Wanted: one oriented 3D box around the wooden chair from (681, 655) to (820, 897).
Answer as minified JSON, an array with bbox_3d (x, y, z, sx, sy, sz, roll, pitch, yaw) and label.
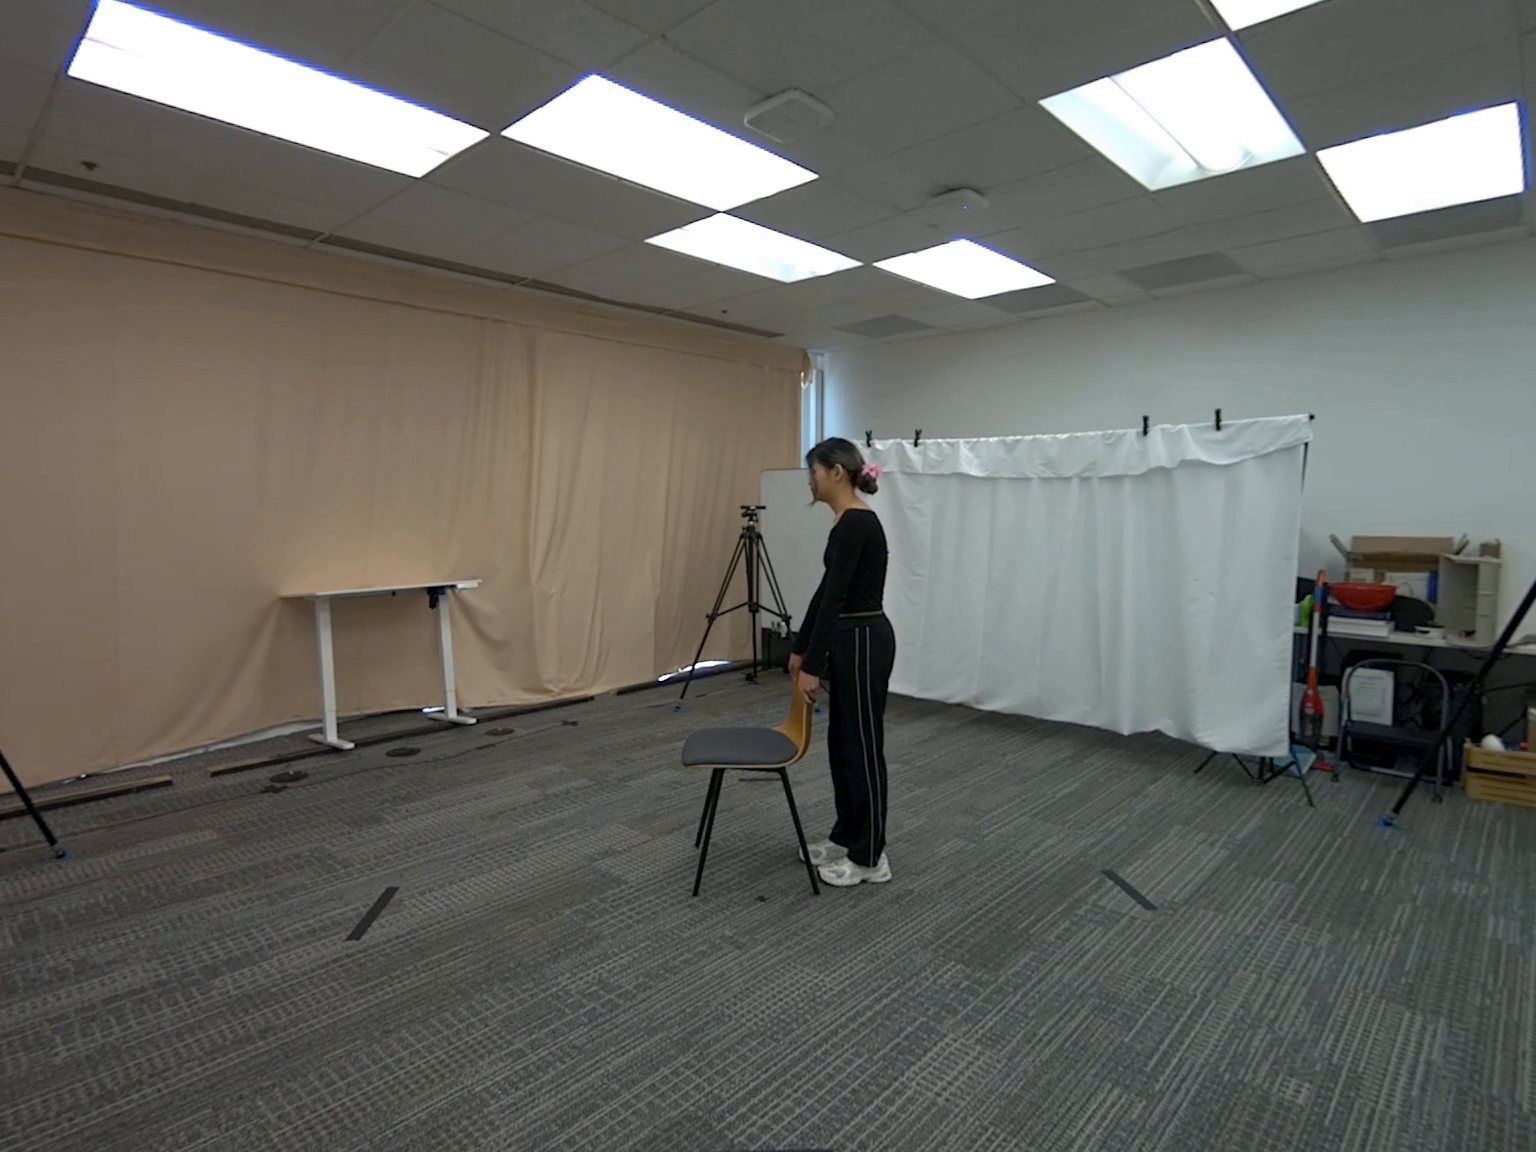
[{"bbox_3d":[-0.067,0.700,3.194,0.522,0.875,0.480,4,4,-3],"label":"wooden chair"}]
